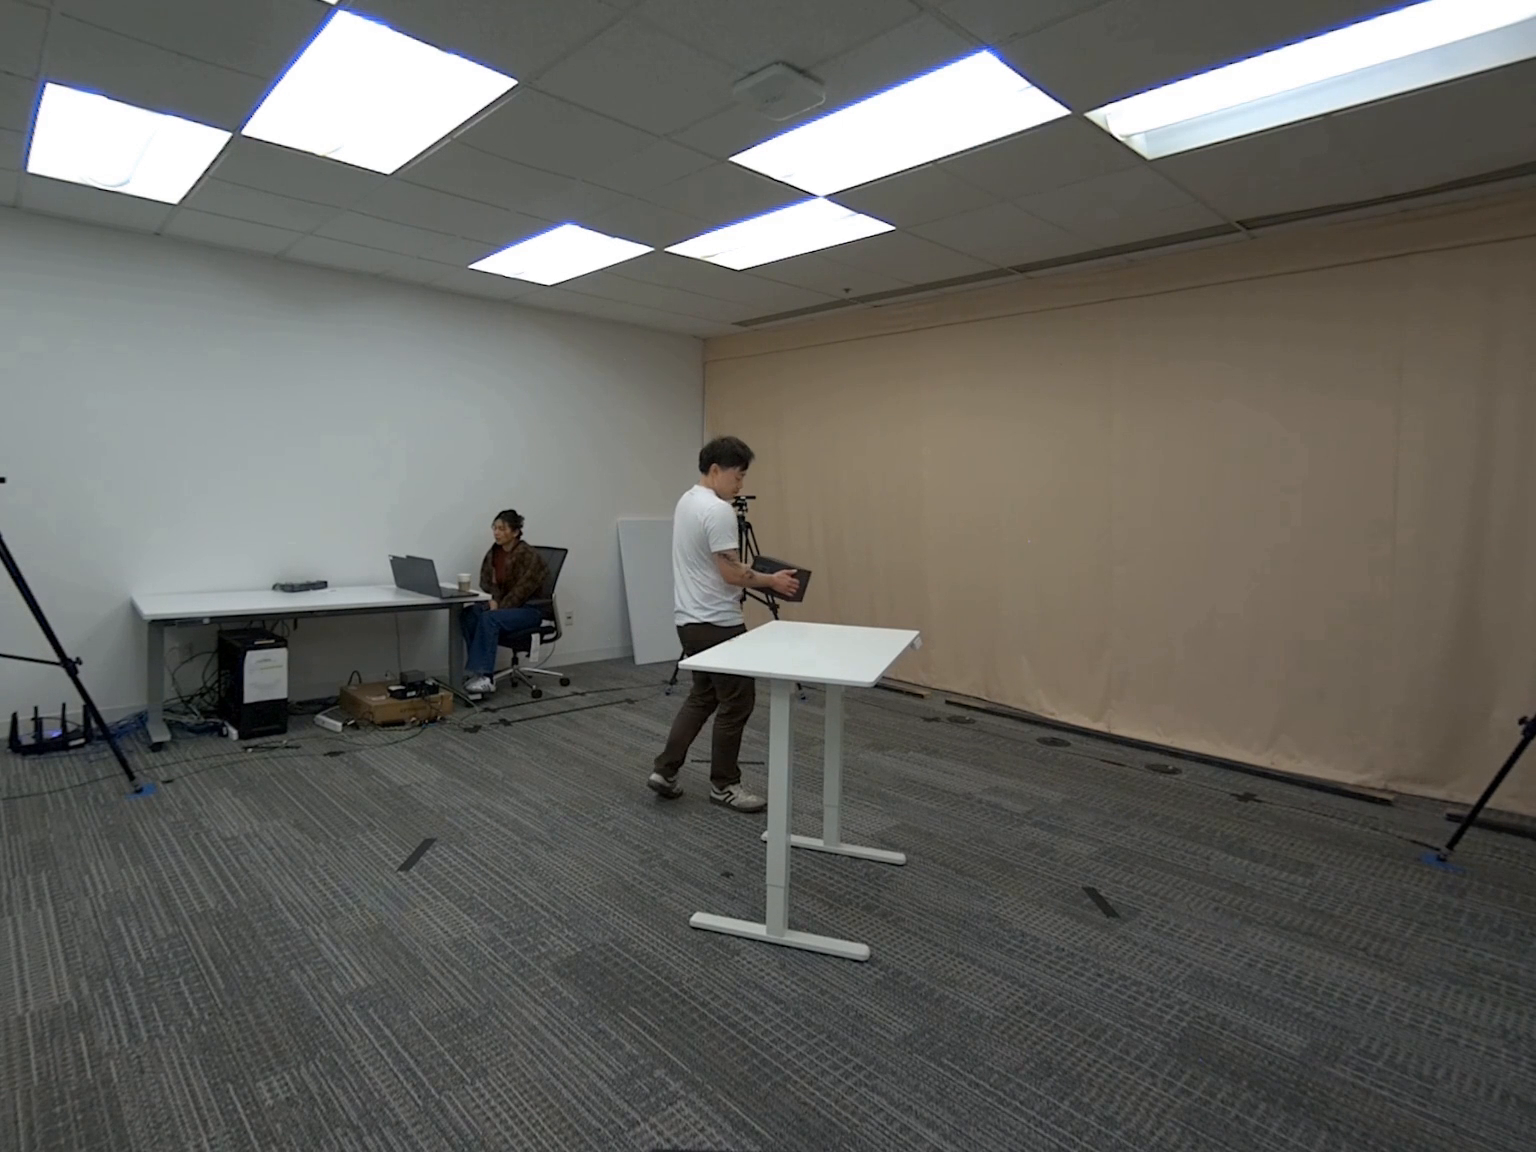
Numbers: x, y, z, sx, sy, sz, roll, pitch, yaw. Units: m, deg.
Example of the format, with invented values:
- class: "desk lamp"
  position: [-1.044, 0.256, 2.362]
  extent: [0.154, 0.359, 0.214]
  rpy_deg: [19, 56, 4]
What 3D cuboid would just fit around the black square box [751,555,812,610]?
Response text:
- class: "black square box"
  position: [0.038, 0.011, 3.894]
  extent: [0.221, 0.156, 0.224]
  rpy_deg: [18, 3, 20]
